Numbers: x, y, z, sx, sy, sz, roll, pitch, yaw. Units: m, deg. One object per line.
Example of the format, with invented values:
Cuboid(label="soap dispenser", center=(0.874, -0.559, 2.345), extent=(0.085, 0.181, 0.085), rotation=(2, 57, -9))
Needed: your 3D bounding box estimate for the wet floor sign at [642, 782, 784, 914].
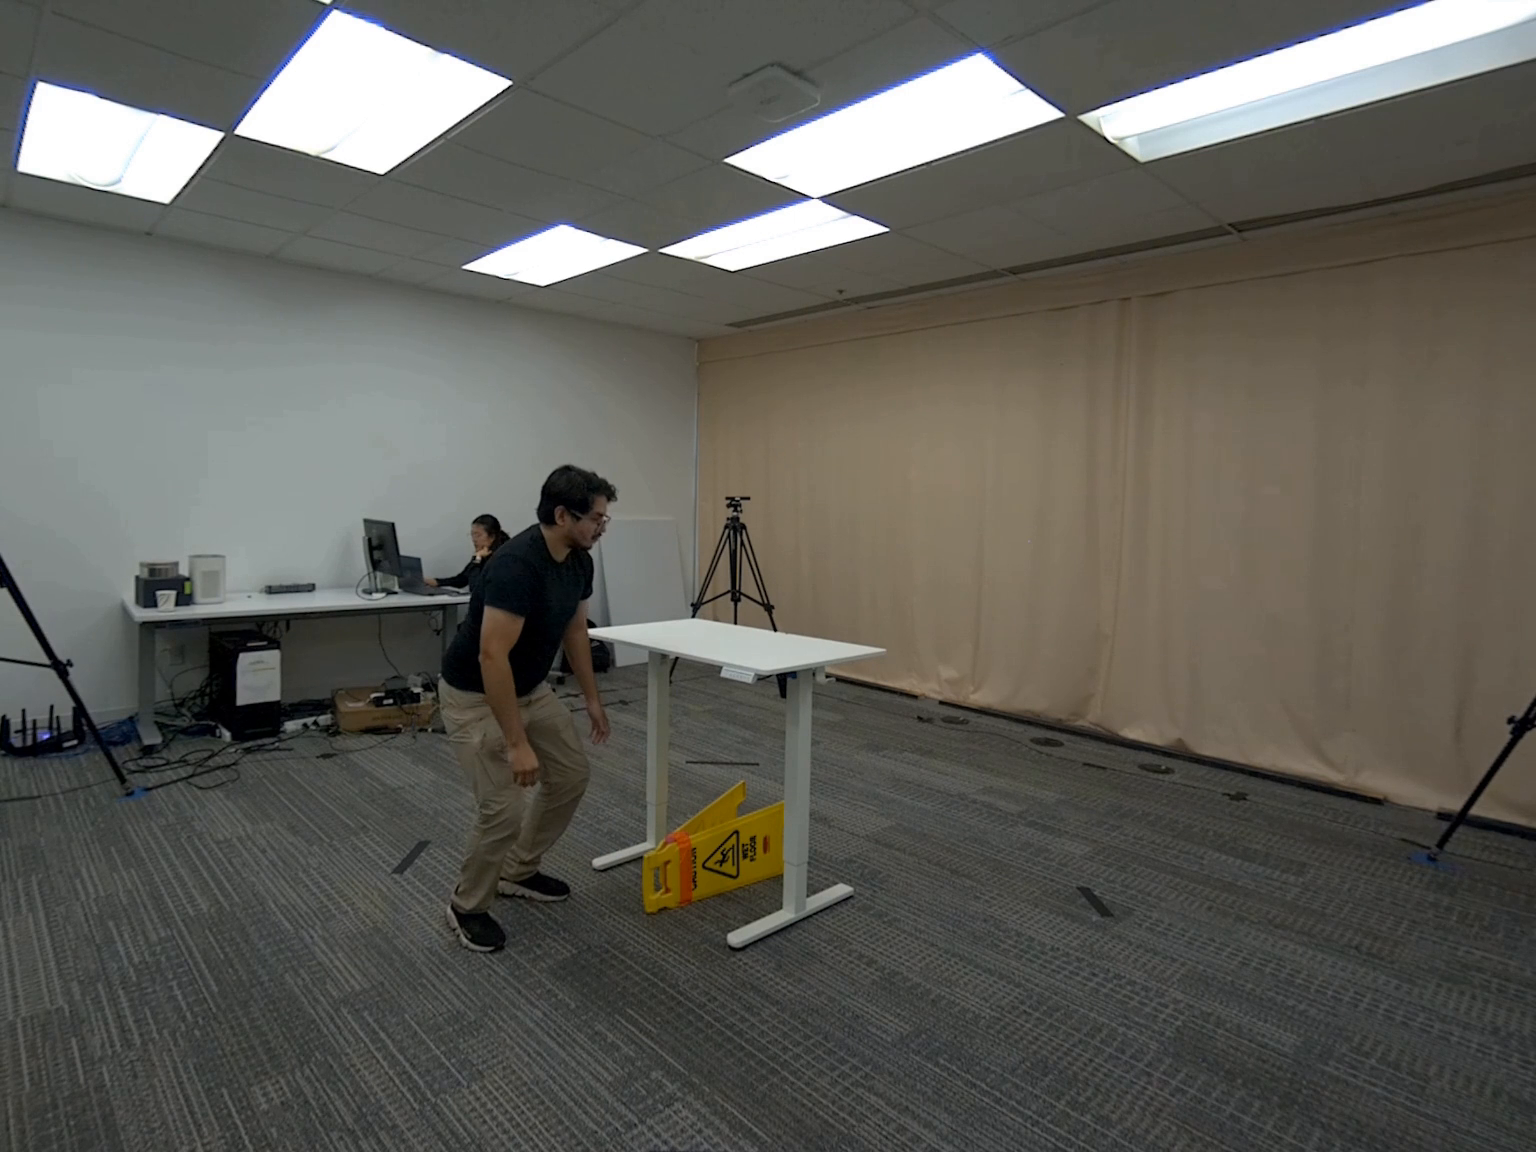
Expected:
Cuboid(label="wet floor sign", center=(-0.200, 0.992, 3.015), extent=(0.297, 0.281, 0.633), rotation=(5, 9, 41))
